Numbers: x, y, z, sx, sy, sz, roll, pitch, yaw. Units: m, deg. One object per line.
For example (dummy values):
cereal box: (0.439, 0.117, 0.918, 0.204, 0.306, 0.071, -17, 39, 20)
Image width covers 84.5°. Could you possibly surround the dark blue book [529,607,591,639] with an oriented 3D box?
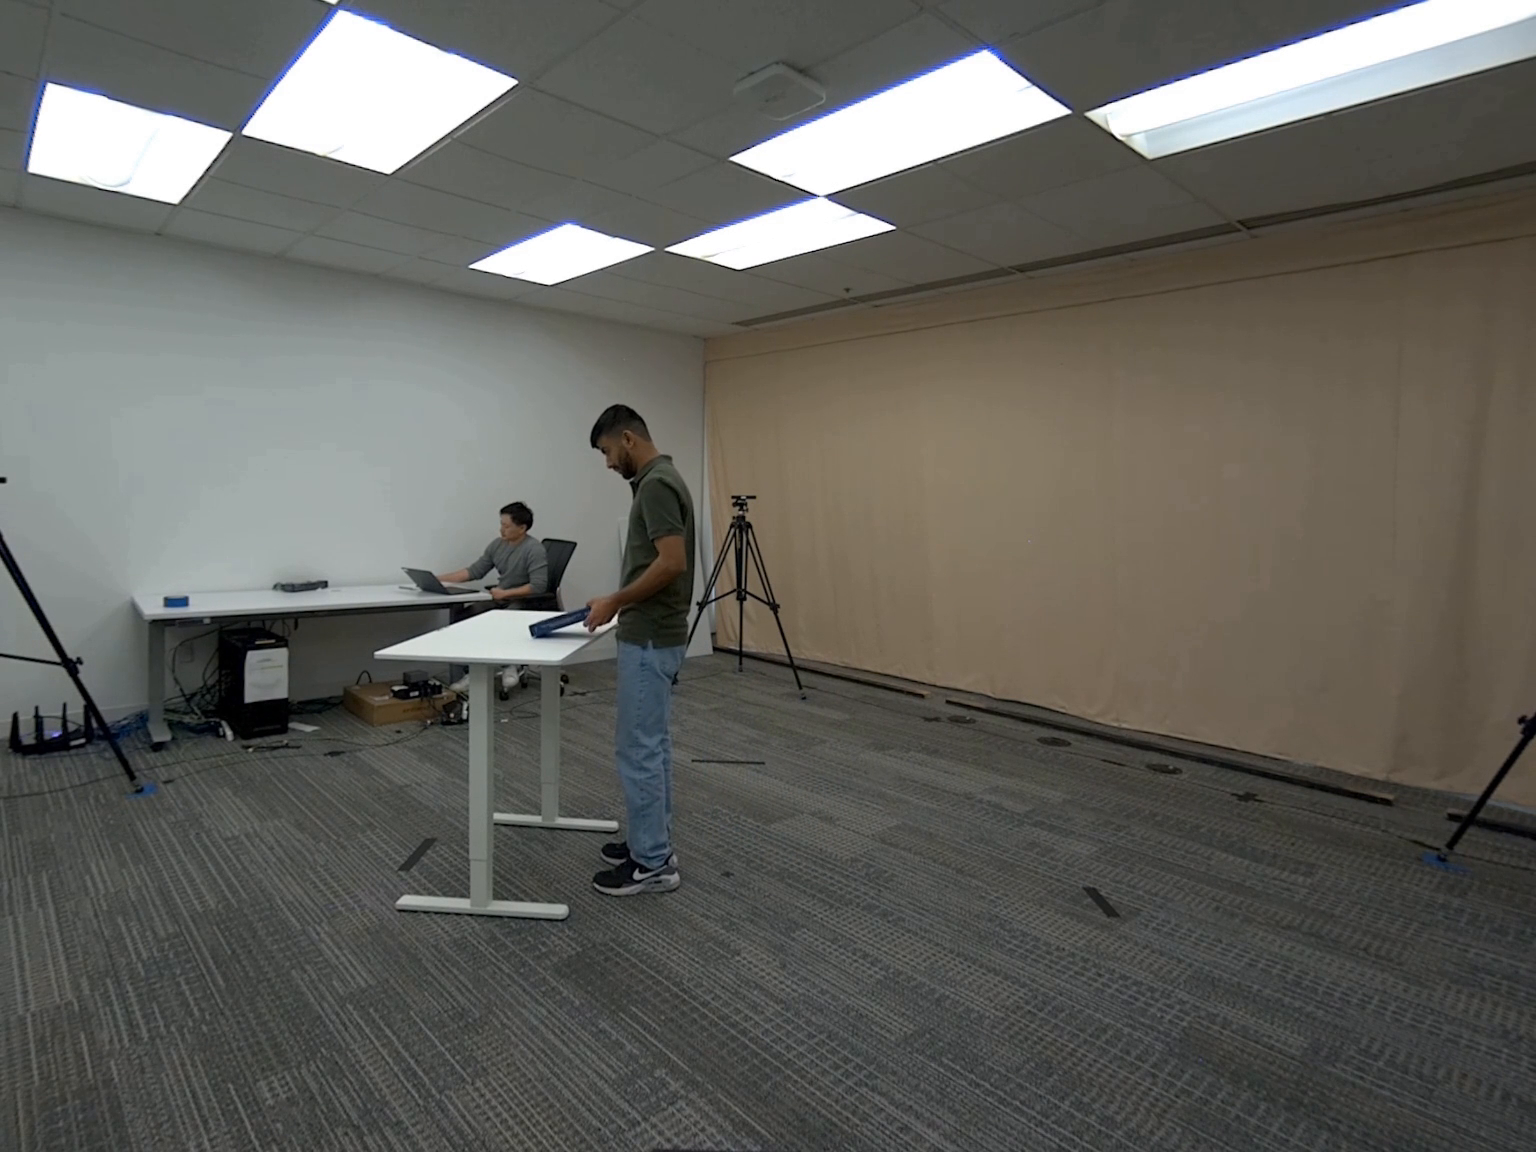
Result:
dark blue book: (-0.724, 0.157, 3.012, 0.246, 0.045, 0.163, -17, 4, 4)
